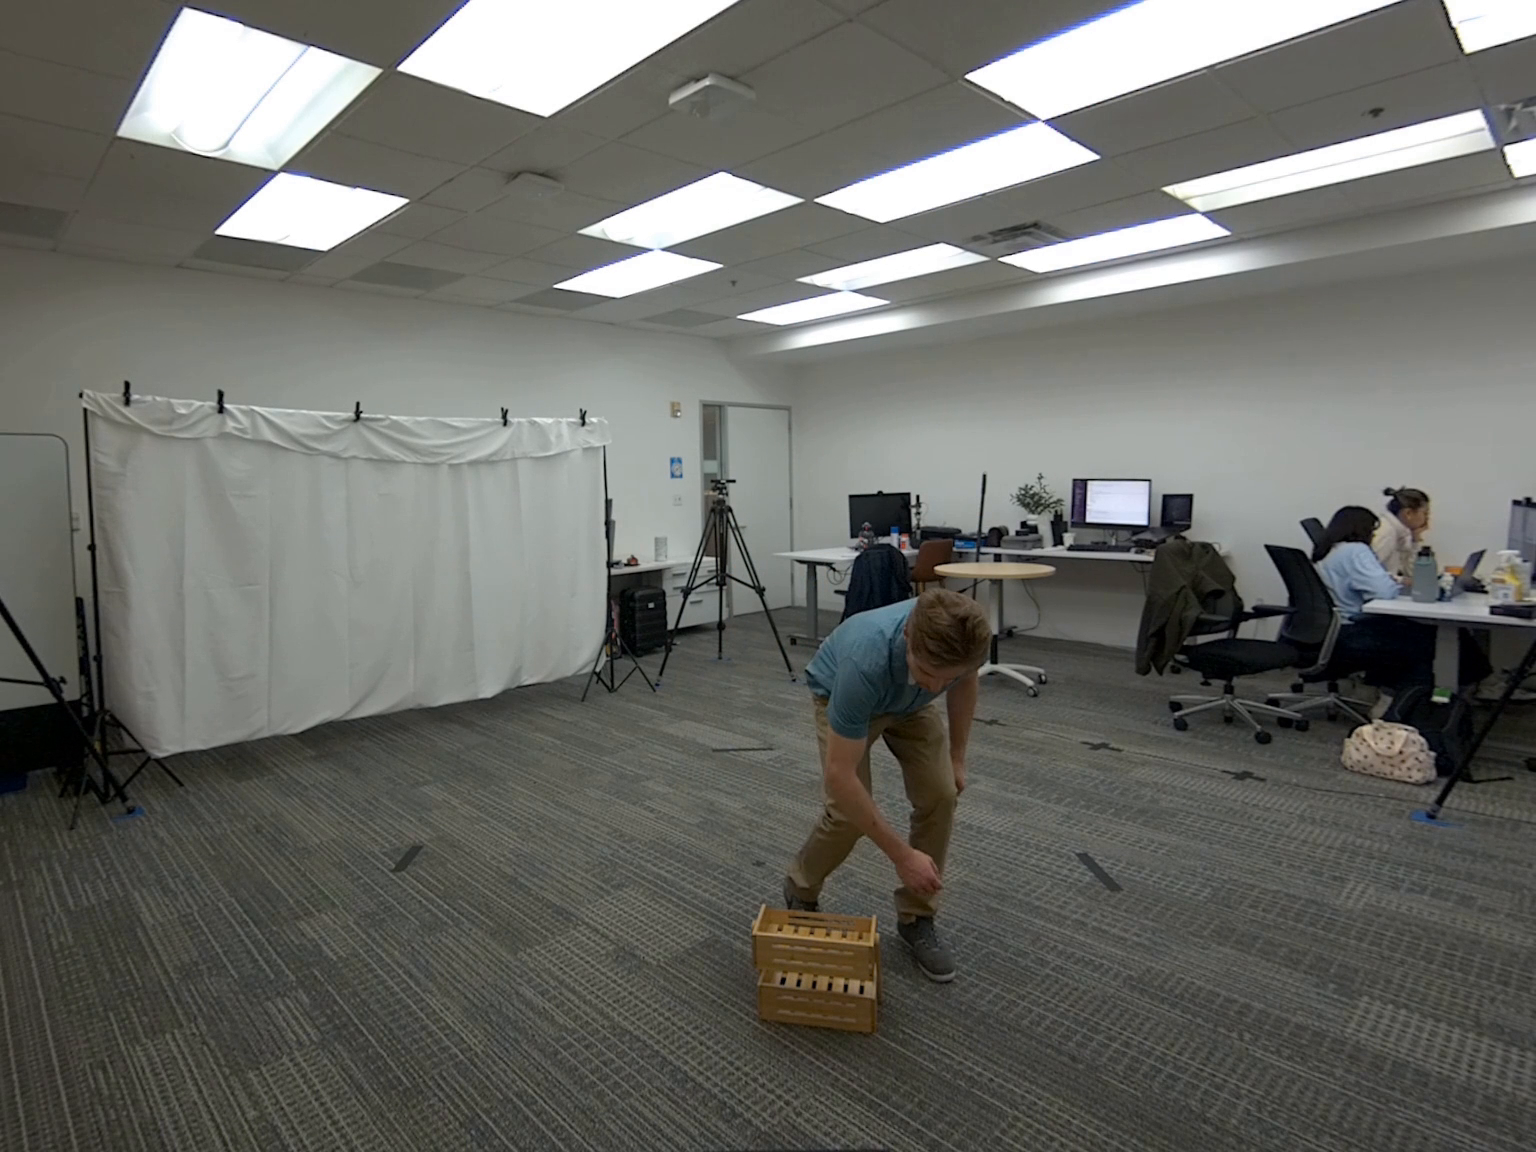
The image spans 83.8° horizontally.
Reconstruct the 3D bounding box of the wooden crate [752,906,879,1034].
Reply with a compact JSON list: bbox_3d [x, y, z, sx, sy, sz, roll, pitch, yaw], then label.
[{"bbox_3d":[0.143,1.002,2.276,0.328,0.272,0.300,0,6,12],"label":"wooden crate"}]
